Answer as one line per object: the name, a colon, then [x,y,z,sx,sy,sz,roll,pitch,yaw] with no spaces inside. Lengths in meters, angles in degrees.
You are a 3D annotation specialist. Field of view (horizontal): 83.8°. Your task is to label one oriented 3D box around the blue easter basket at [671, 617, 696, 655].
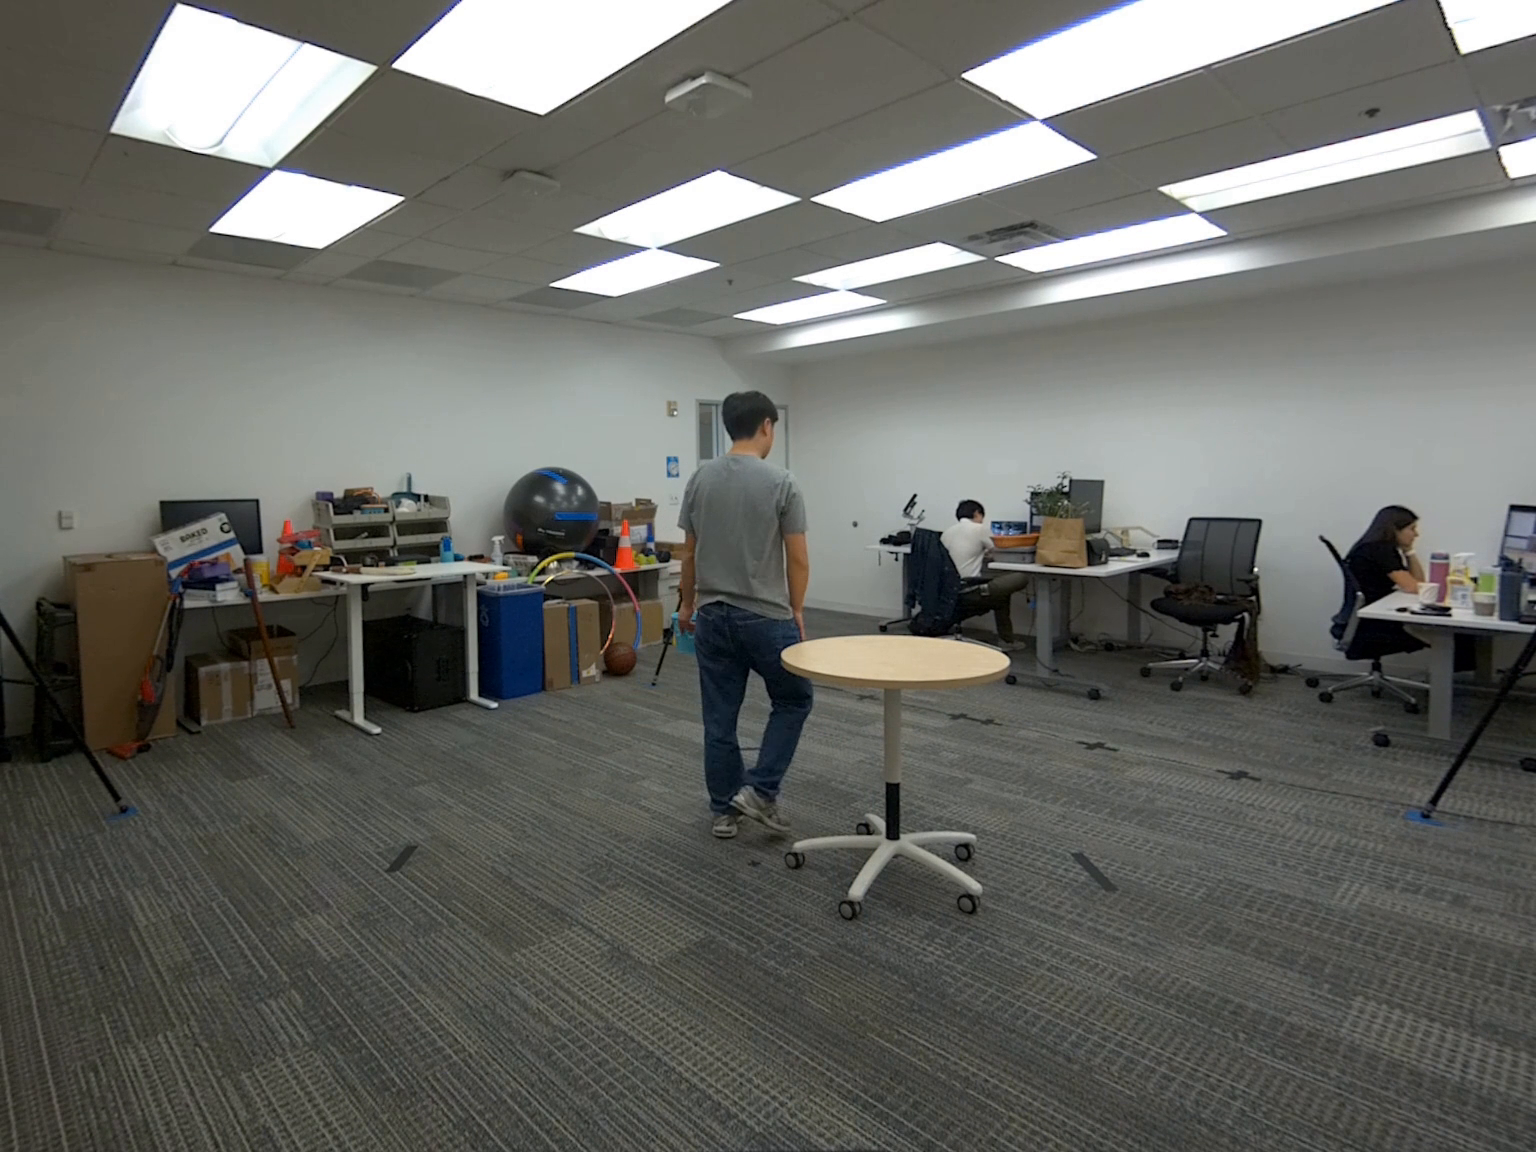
blue easter basket: [-0.301,0.247,3.728,0.243,0.155,0.245,0,6,-2]
